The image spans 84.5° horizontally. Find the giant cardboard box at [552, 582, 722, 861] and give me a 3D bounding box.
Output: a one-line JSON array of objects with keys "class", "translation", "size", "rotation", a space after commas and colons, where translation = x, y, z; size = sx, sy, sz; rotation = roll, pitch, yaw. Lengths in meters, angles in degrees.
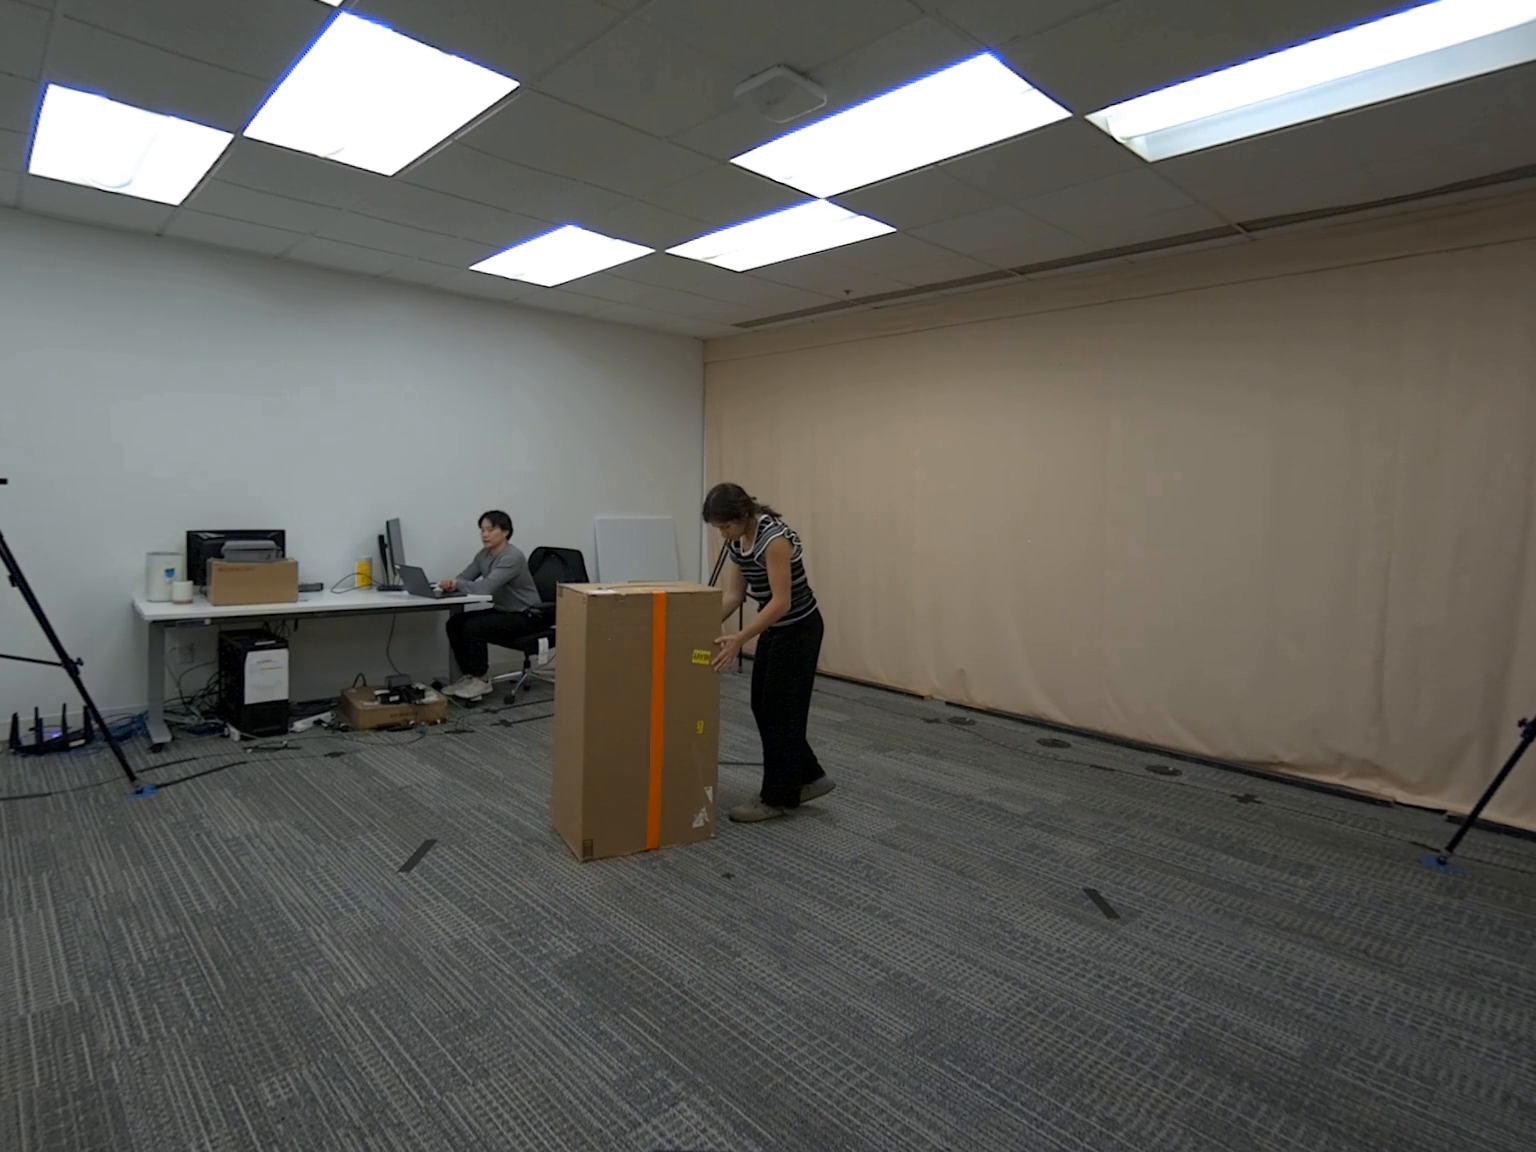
[{"class": "giant cardboard box", "translation": [-0.555, 0.558, 3.469], "size": [0.566, 1.024, 0.436], "rotation": [0, 3, -30]}]
